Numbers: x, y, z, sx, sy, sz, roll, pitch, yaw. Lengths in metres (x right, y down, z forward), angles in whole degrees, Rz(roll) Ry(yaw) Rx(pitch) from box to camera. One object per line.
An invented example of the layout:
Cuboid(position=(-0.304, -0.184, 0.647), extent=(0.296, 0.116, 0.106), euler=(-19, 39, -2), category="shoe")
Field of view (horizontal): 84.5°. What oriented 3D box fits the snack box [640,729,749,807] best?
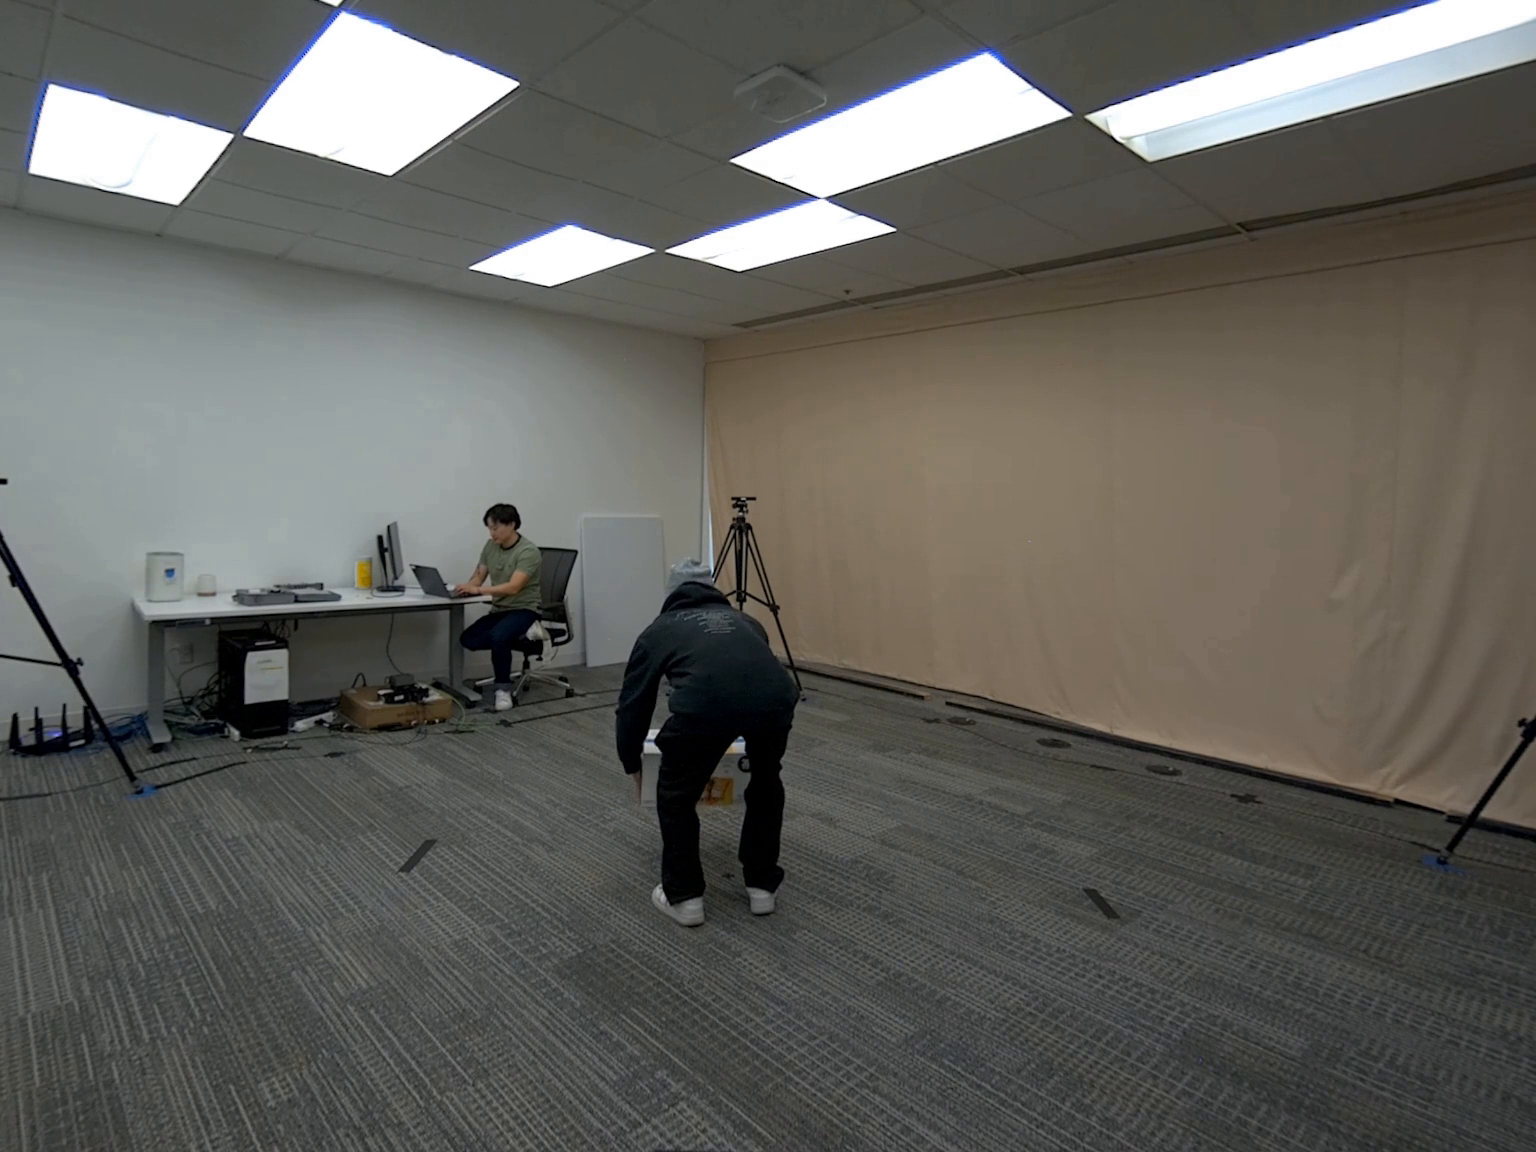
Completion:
Cuboid(position=(-0.292, 0.746, 3.284), extent=(0.403, 0.205, 0.342), euler=(1, 3, -6), category="snack box")
